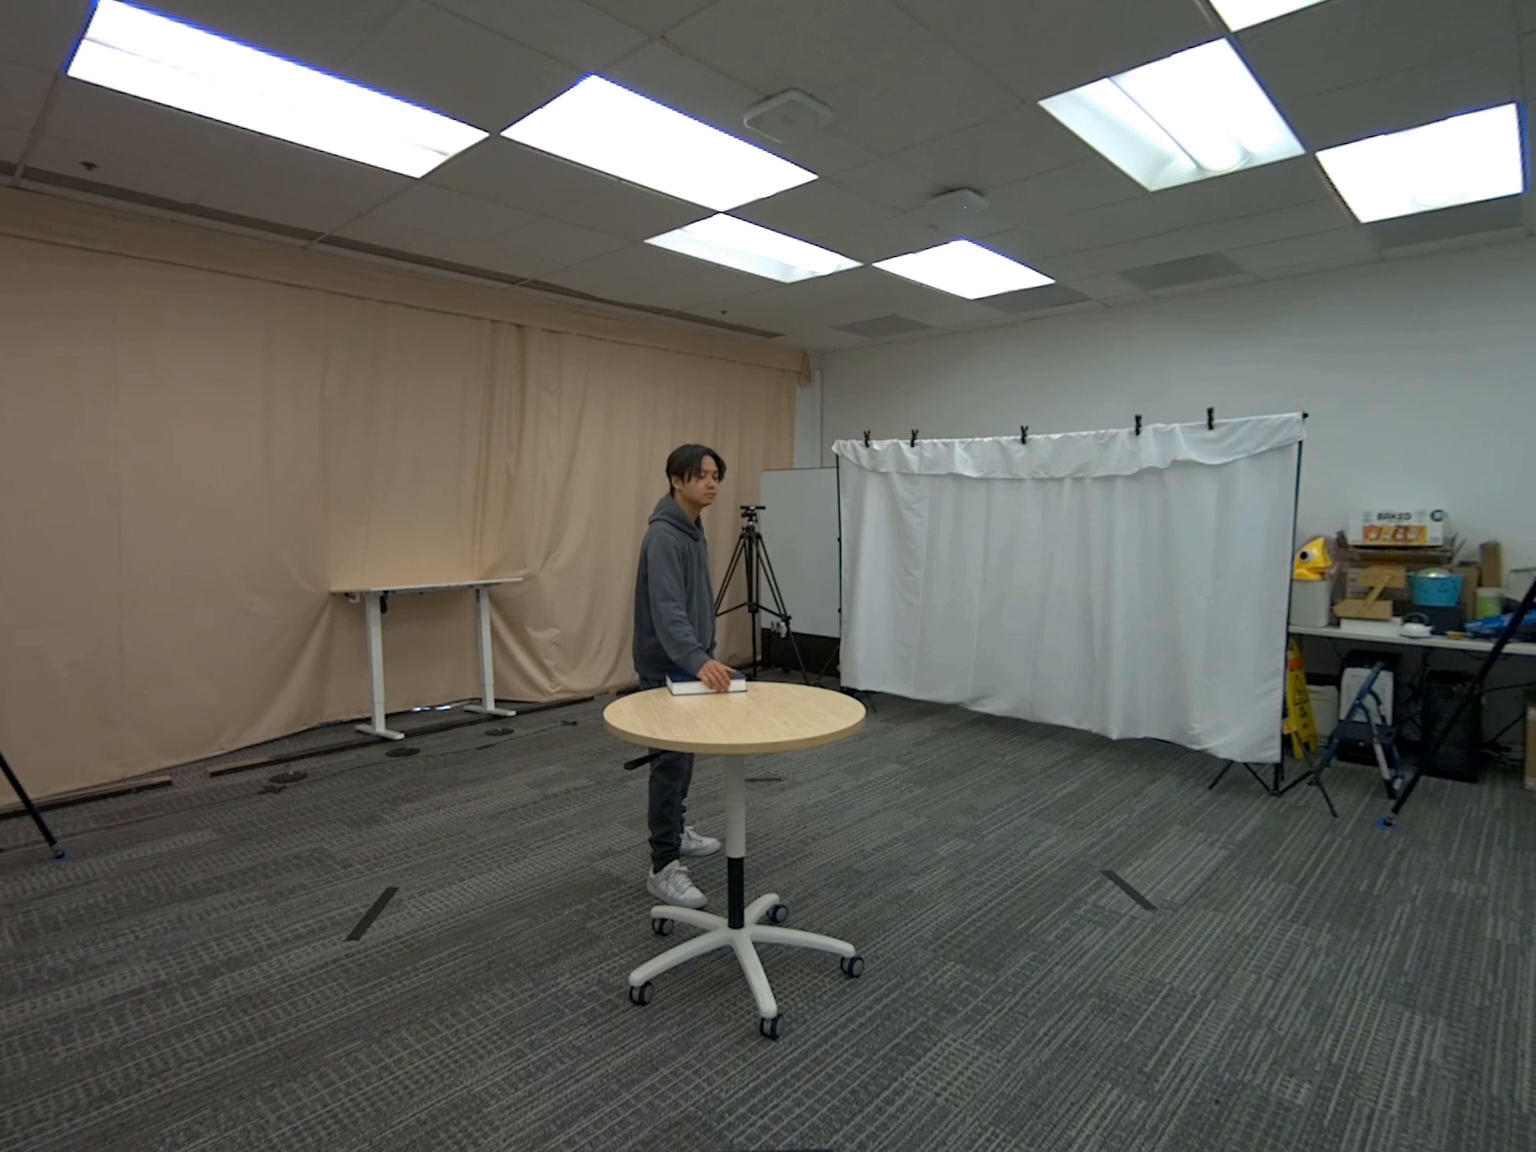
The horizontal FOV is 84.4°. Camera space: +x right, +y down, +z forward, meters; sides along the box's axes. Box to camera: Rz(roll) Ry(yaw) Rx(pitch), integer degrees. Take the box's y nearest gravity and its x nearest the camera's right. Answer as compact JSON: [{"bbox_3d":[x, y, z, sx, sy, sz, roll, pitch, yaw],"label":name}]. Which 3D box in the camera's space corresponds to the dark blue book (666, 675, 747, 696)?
[{"bbox_3d":[-0.200,0.348,2.761,0.242,0.045,0.166,-2,4,-11],"label":"dark blue book"}]
